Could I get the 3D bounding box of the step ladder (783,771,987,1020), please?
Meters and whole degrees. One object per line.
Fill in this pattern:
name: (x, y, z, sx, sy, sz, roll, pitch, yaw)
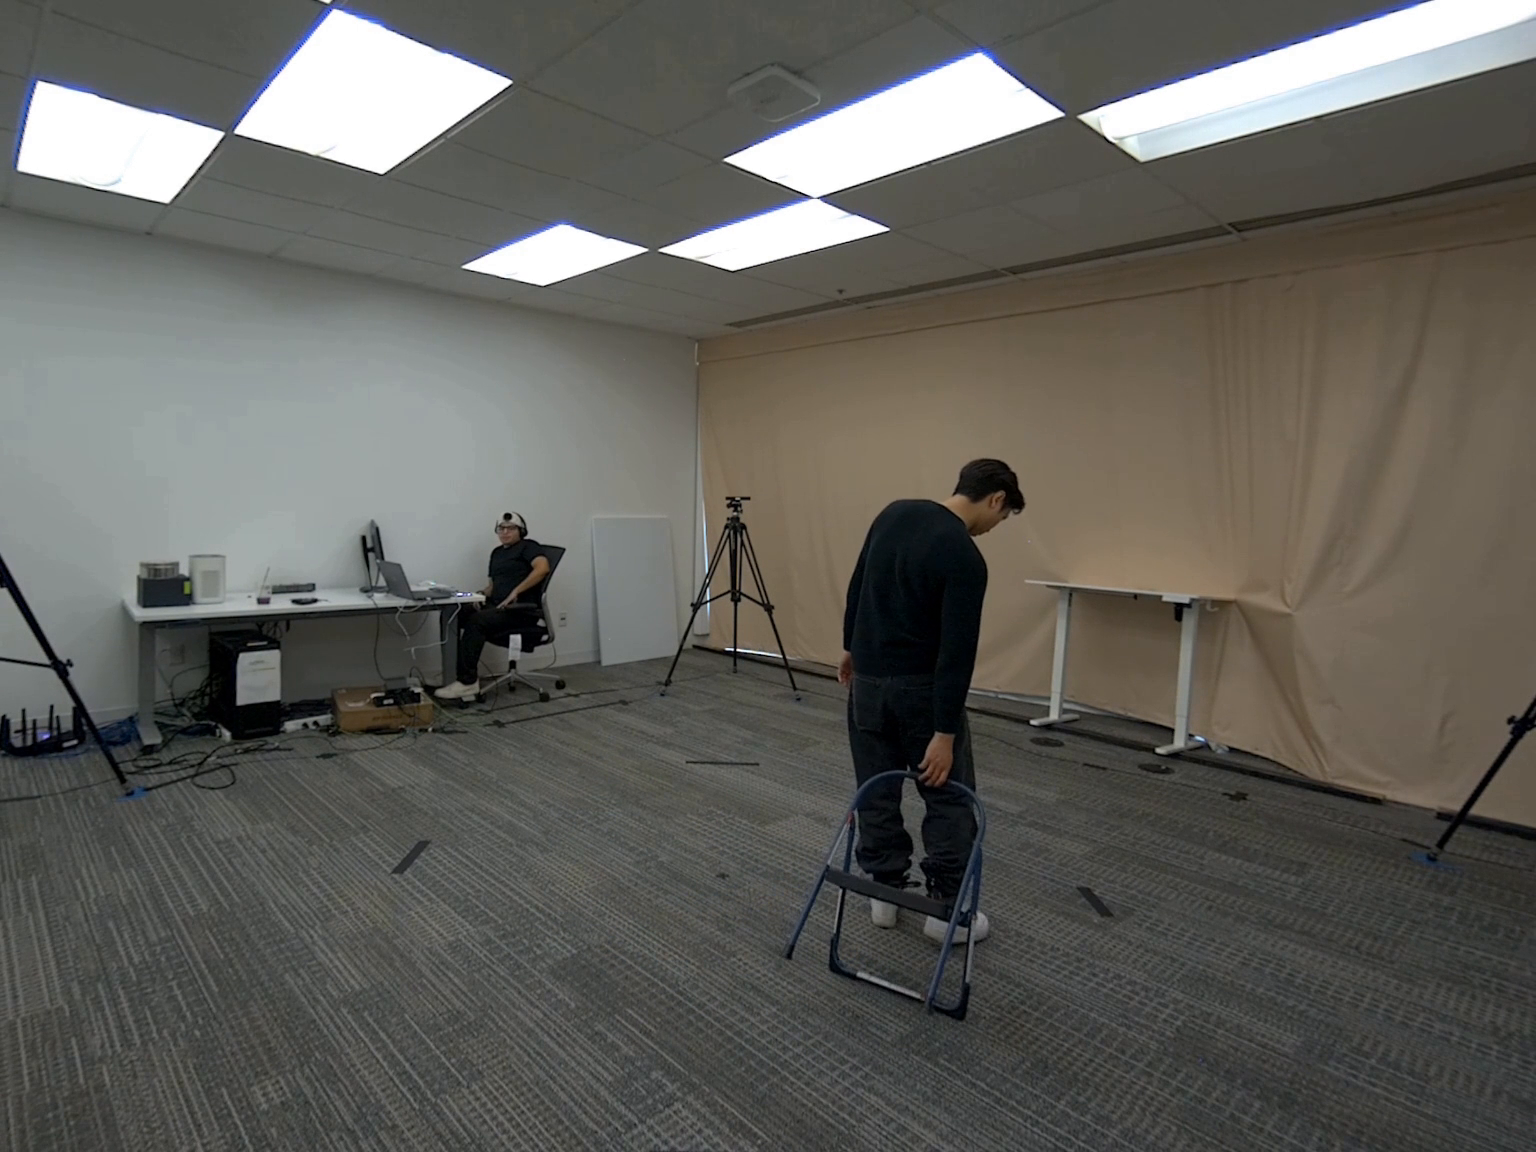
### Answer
step ladder: (0.366, 0.850, 2.368, 0.441, 0.611, 0.338, 4, -25, 34)
